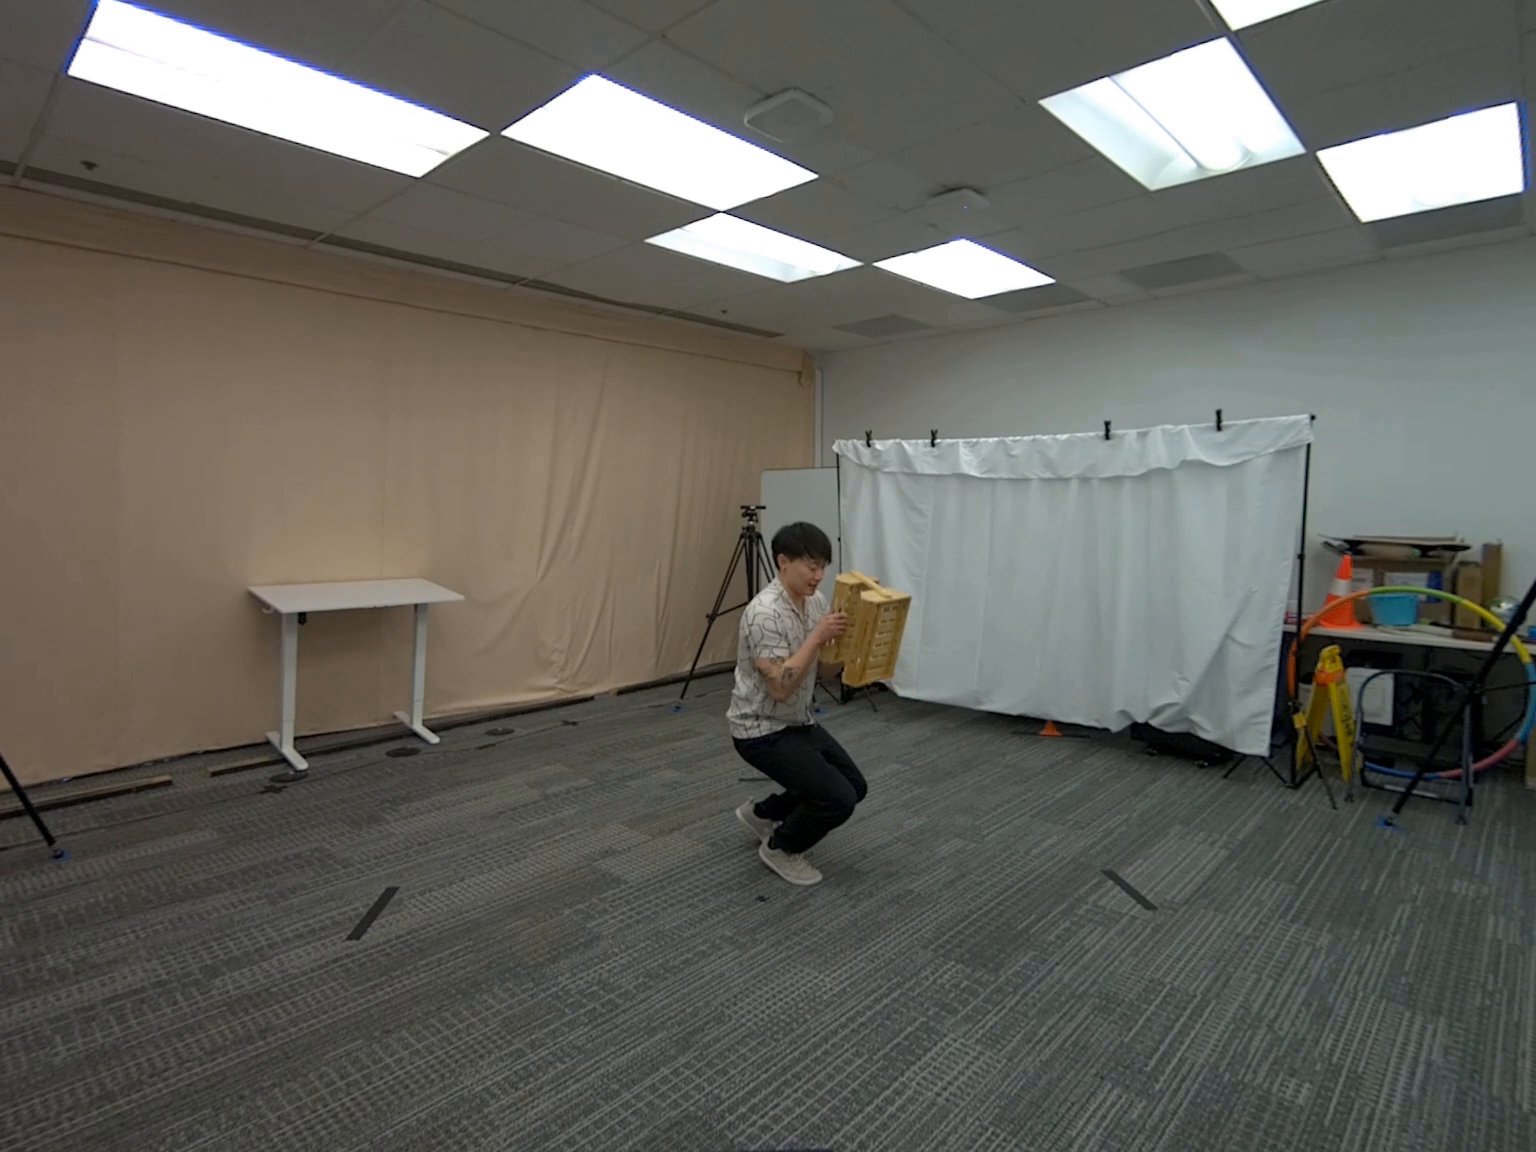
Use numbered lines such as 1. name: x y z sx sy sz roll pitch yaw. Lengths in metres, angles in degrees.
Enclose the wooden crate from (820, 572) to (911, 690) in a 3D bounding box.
1. wooden crate: 0.315 0.176 2.955 0.283 0.323 0.293 21 17 39
